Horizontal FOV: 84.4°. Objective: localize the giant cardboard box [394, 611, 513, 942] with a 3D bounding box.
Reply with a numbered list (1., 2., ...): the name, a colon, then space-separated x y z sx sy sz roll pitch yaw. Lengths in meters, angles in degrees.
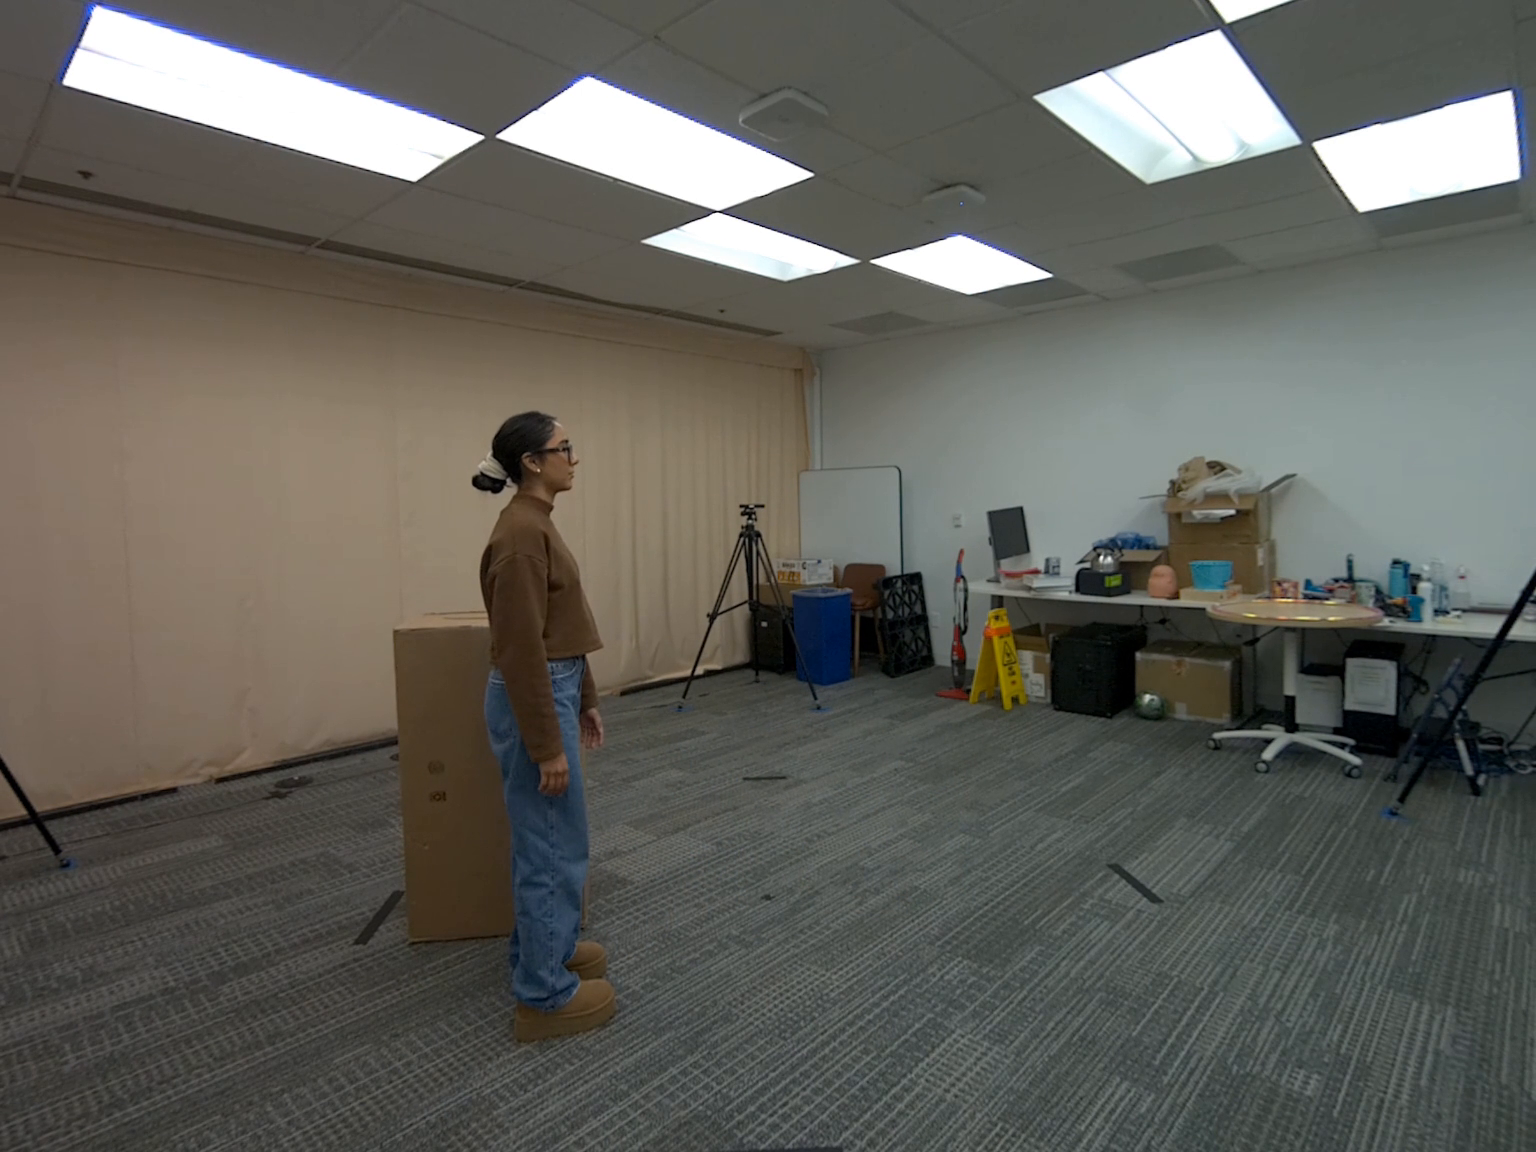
1. giant cardboard box: -0.938 0.656 2.938 0.573 1.024 0.430 -2 3 -8
